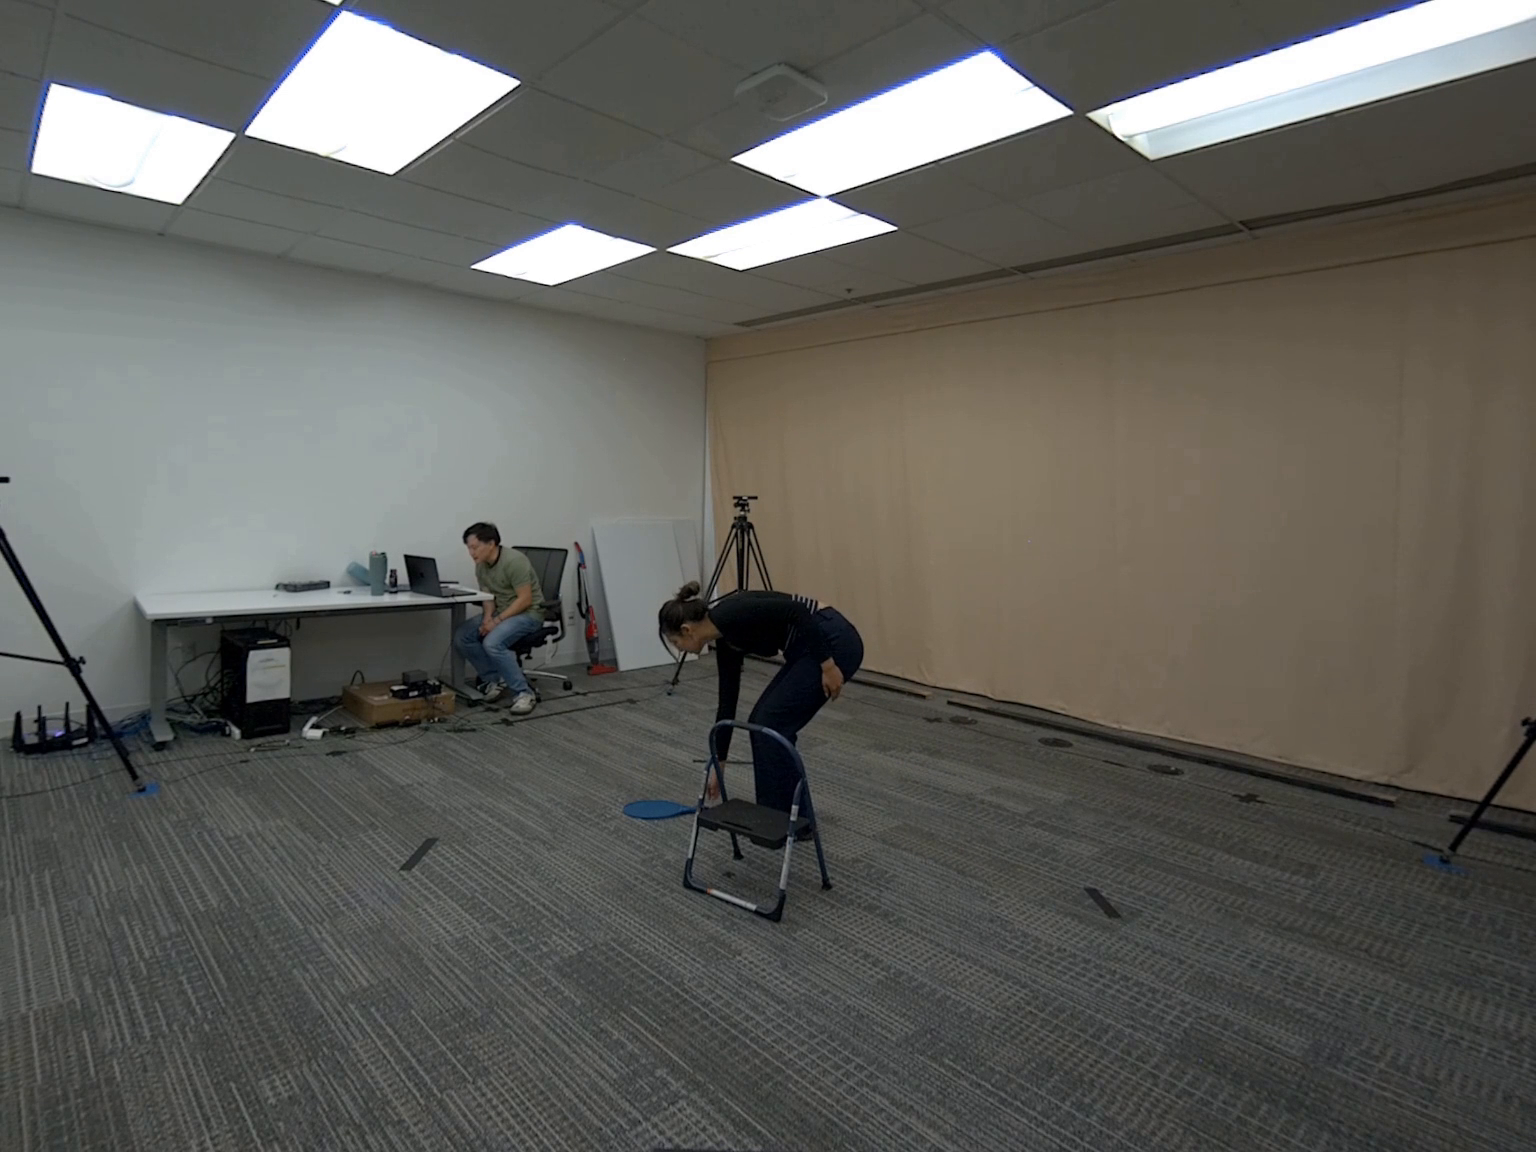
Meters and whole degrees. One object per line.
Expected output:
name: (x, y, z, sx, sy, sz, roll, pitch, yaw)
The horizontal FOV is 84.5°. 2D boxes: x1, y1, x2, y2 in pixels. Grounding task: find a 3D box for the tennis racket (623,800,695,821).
tennis racket: (-0.432, 1.022, 3.711, 0.435, 0.031, 0.213, 0, 5, 5)
